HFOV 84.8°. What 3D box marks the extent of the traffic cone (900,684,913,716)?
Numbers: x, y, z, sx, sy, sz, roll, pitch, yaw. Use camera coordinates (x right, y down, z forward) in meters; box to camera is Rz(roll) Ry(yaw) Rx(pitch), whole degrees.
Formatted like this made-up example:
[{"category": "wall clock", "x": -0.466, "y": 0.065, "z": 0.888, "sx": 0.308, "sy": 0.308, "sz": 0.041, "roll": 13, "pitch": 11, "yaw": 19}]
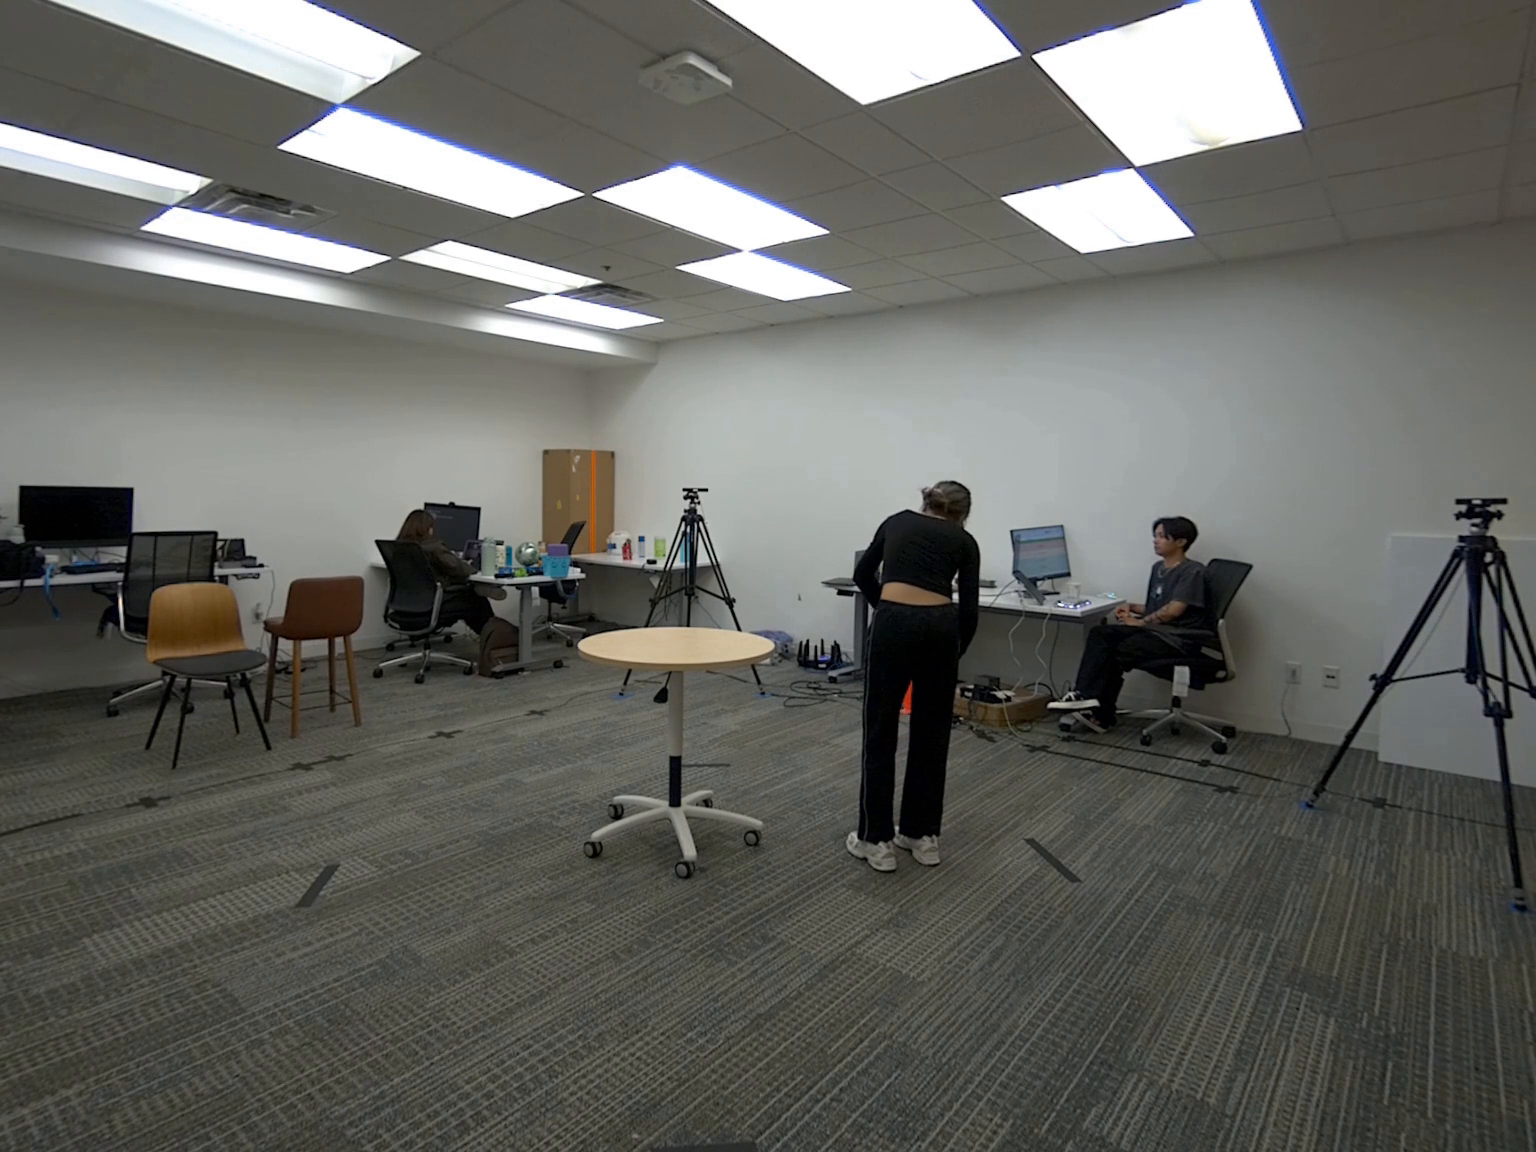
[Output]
[{"category": "traffic cone", "x": 0.576, "y": 0.359, "z": 3.562, "sx": 0.204, "sy": 0.387, "sz": 0.202, "roll": -16, "pitch": -7, "yaw": -3}]
